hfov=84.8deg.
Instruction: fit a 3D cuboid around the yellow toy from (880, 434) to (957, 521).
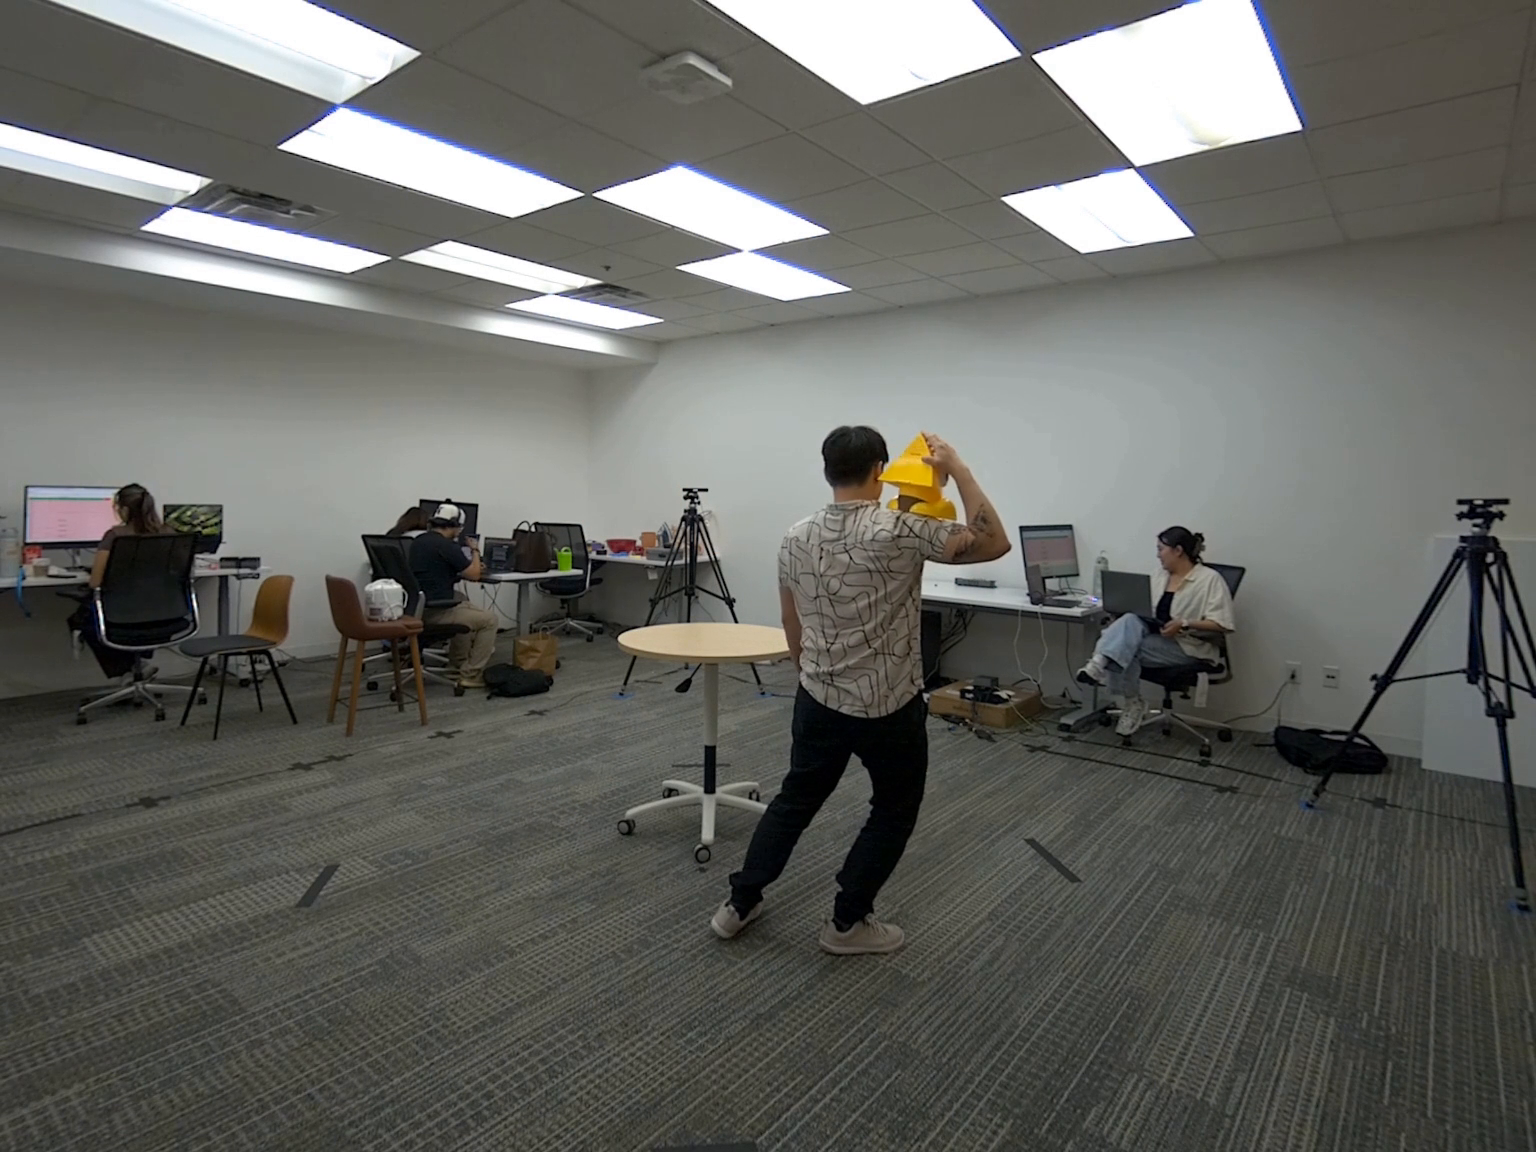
[{"bbox_3d":[0.457,-0.298,2.494,0.186,0.230,0.212,8,5,-39],"label":"yellow toy"}]
